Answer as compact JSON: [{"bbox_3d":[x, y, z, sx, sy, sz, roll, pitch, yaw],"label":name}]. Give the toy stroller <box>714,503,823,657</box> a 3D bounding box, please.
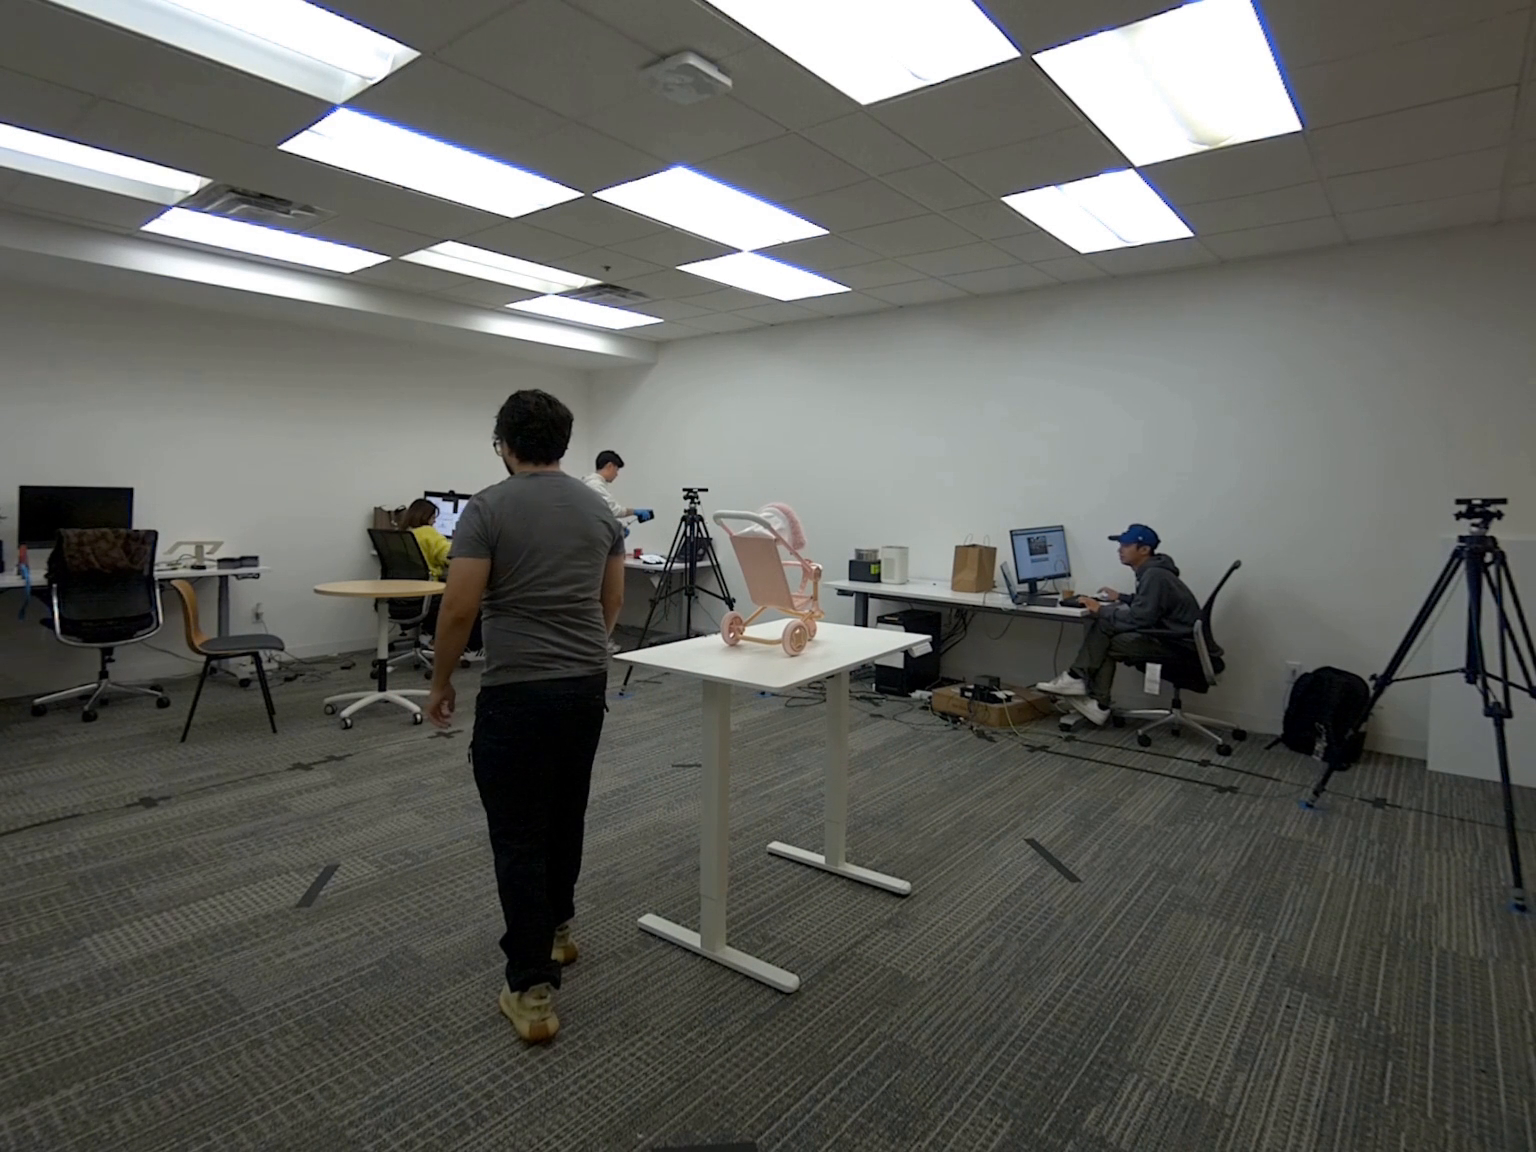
[{"bbox_3d":[0.021,0.004,2.723,0.291,0.527,0.335,5,20,43],"label":"toy stroller"}]
